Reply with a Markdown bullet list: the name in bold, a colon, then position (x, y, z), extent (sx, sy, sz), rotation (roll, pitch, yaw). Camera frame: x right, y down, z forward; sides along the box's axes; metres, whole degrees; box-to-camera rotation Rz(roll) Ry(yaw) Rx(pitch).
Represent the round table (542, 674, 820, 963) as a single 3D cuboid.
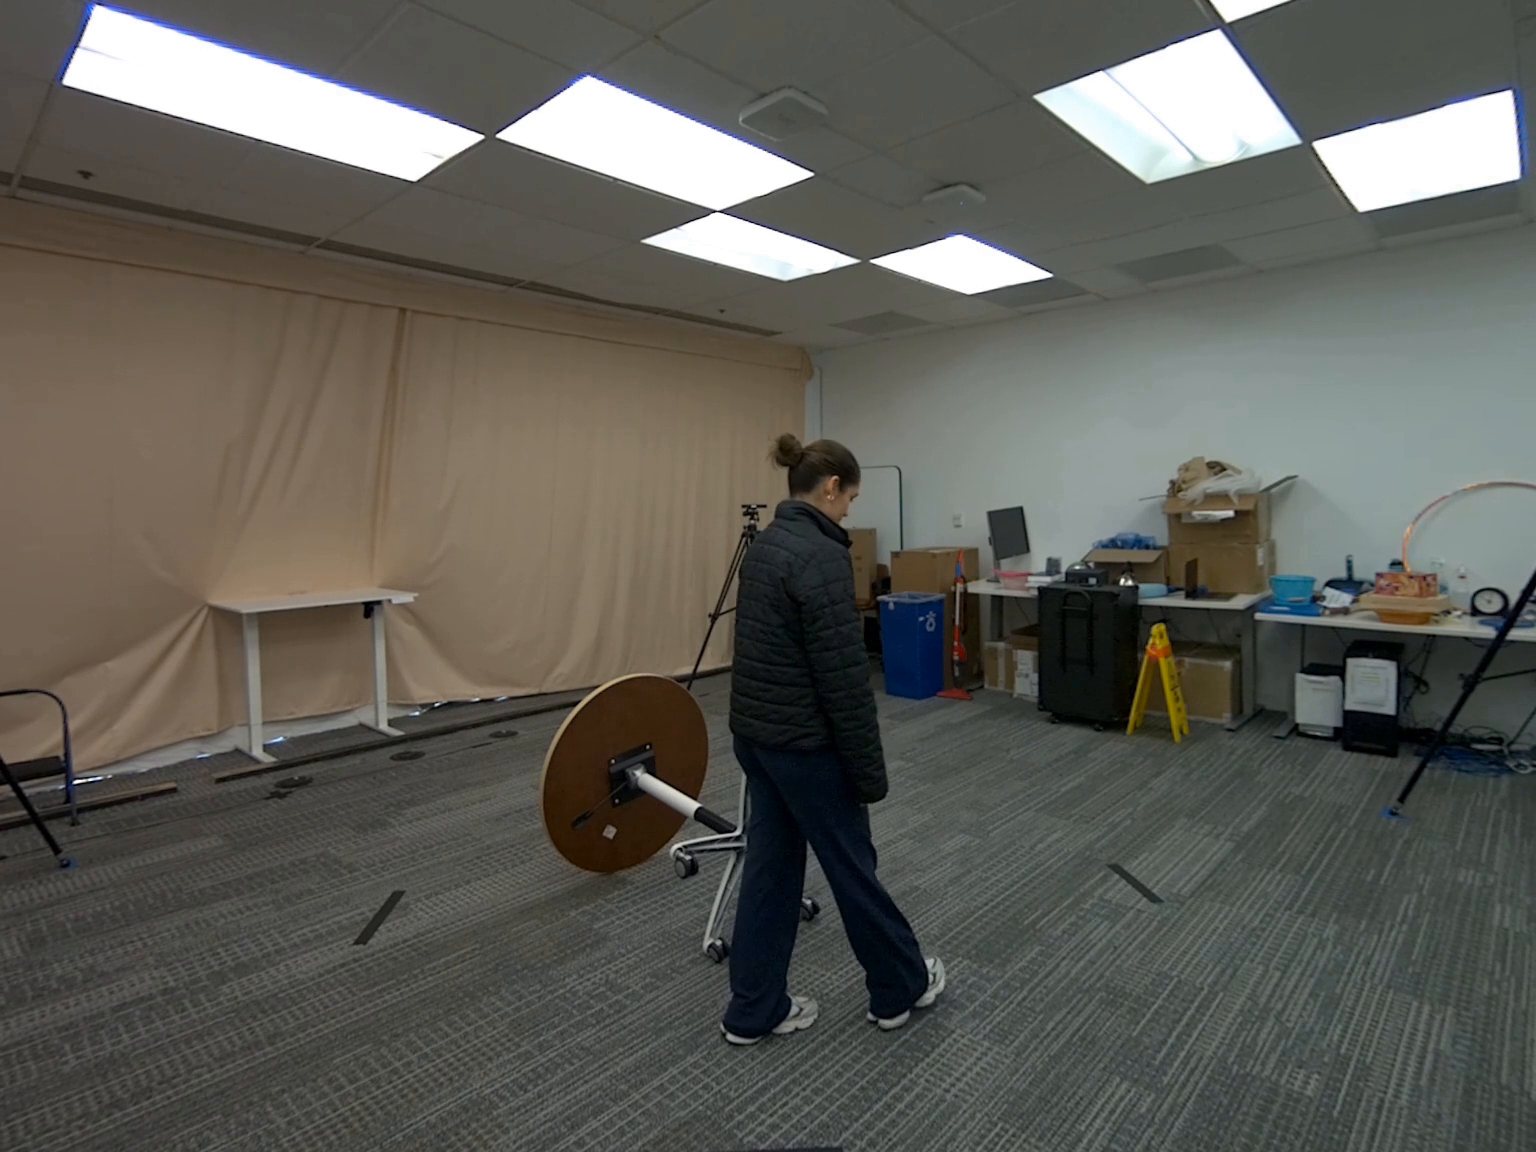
- **round table**: position (-0.250, 0.811, 2.929), extent (0.761, 0.781, 0.814), rotation (-4, 11, -43)
